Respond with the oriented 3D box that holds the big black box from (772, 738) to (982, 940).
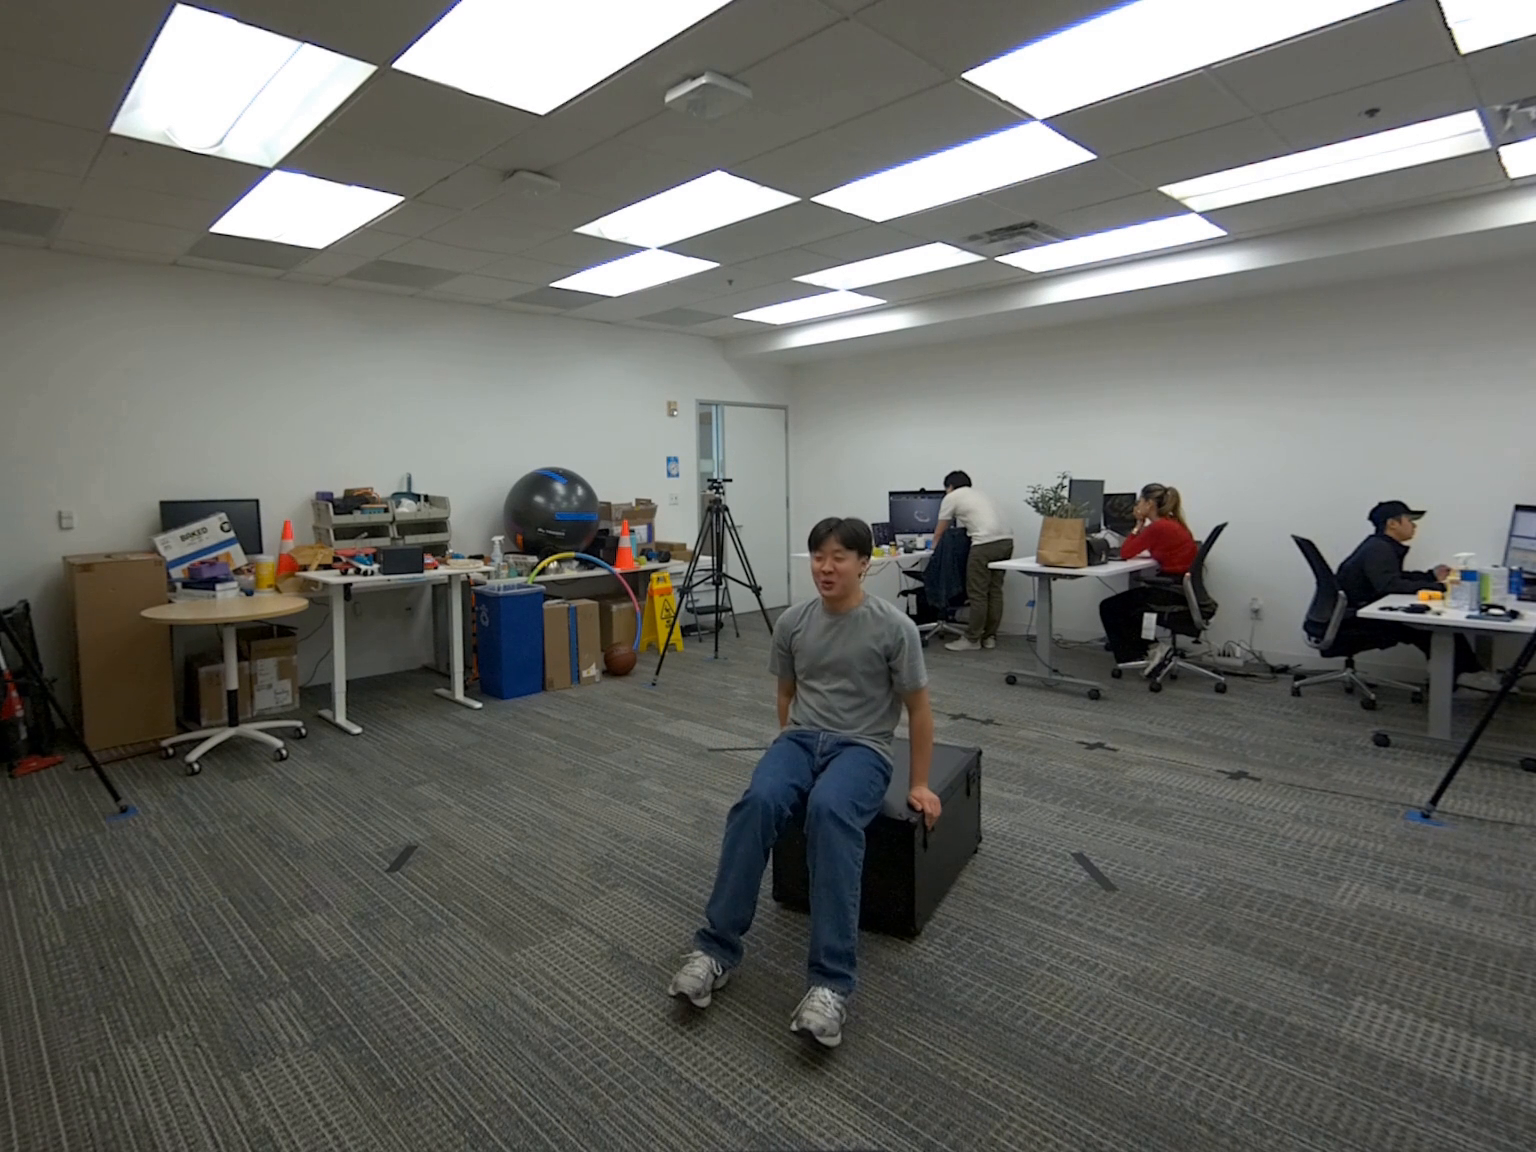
[{"bbox_3d":[0.428,0.862,3.014,0.534,0.394,0.844,1,7,29],"label":"big black box"}]
